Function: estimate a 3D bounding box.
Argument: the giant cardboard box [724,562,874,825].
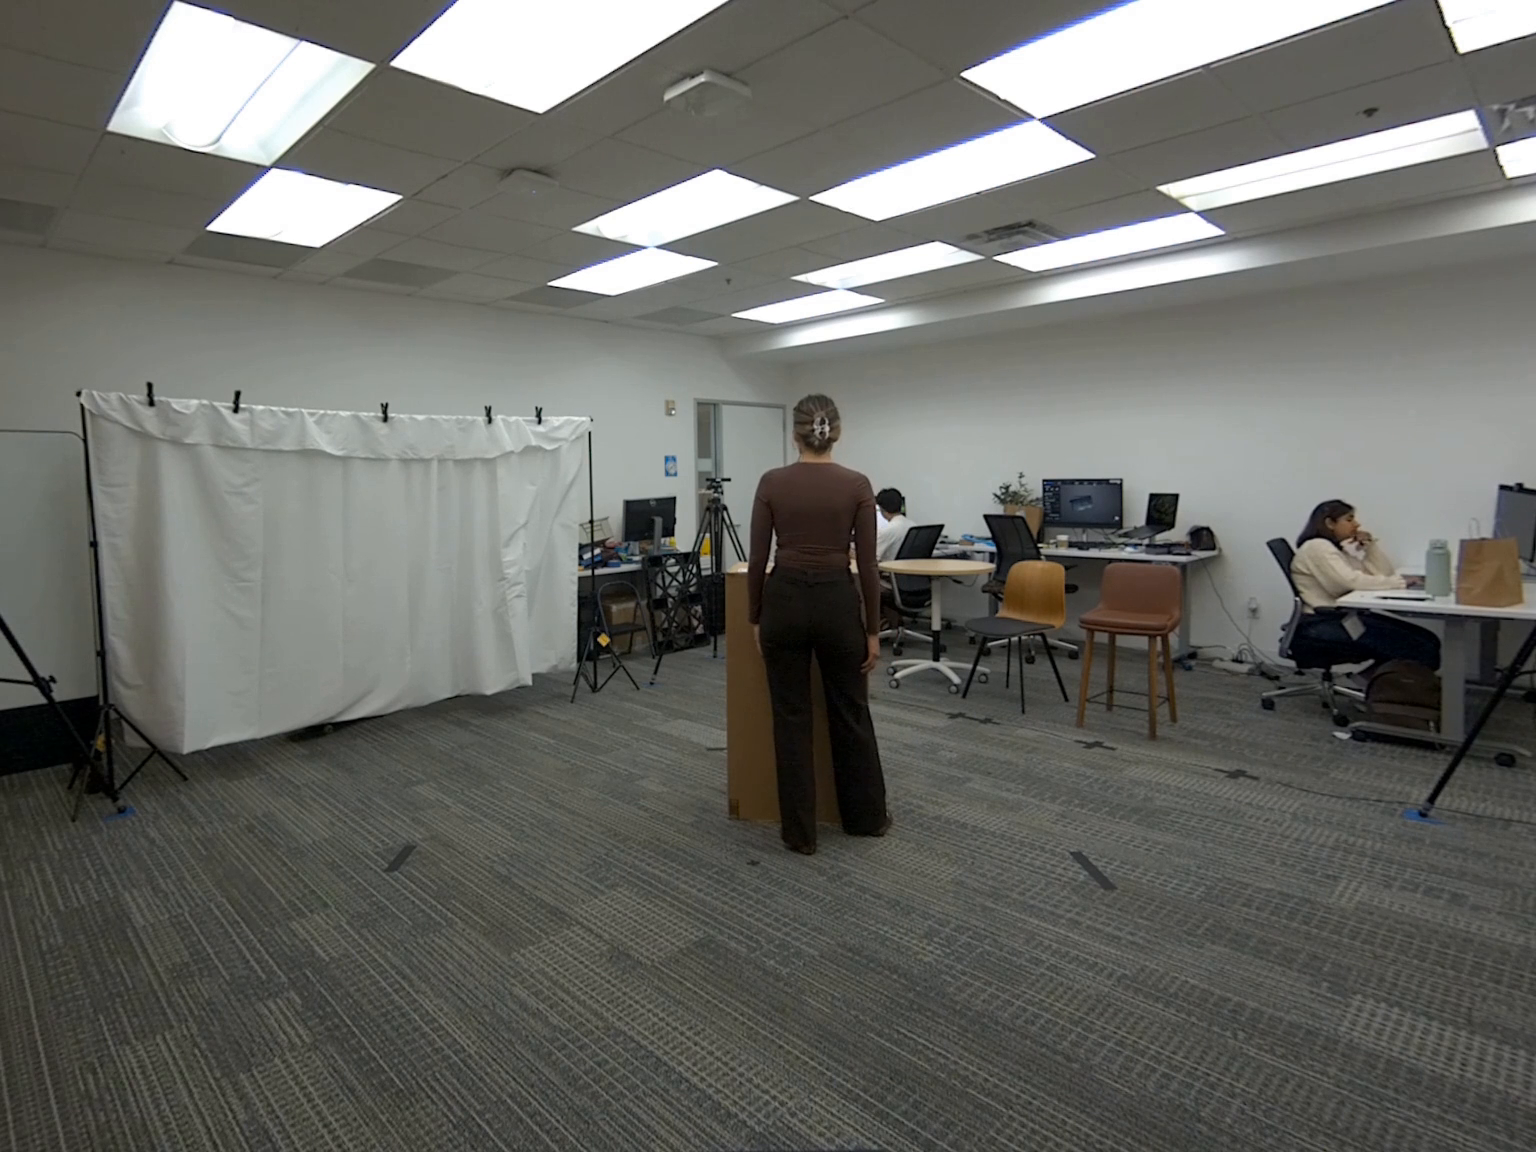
[{"bbox_3d":[0.138,0.465,3.639,0.589,1.023,0.444,0,5,9],"label":"giant cardboard box"}]
